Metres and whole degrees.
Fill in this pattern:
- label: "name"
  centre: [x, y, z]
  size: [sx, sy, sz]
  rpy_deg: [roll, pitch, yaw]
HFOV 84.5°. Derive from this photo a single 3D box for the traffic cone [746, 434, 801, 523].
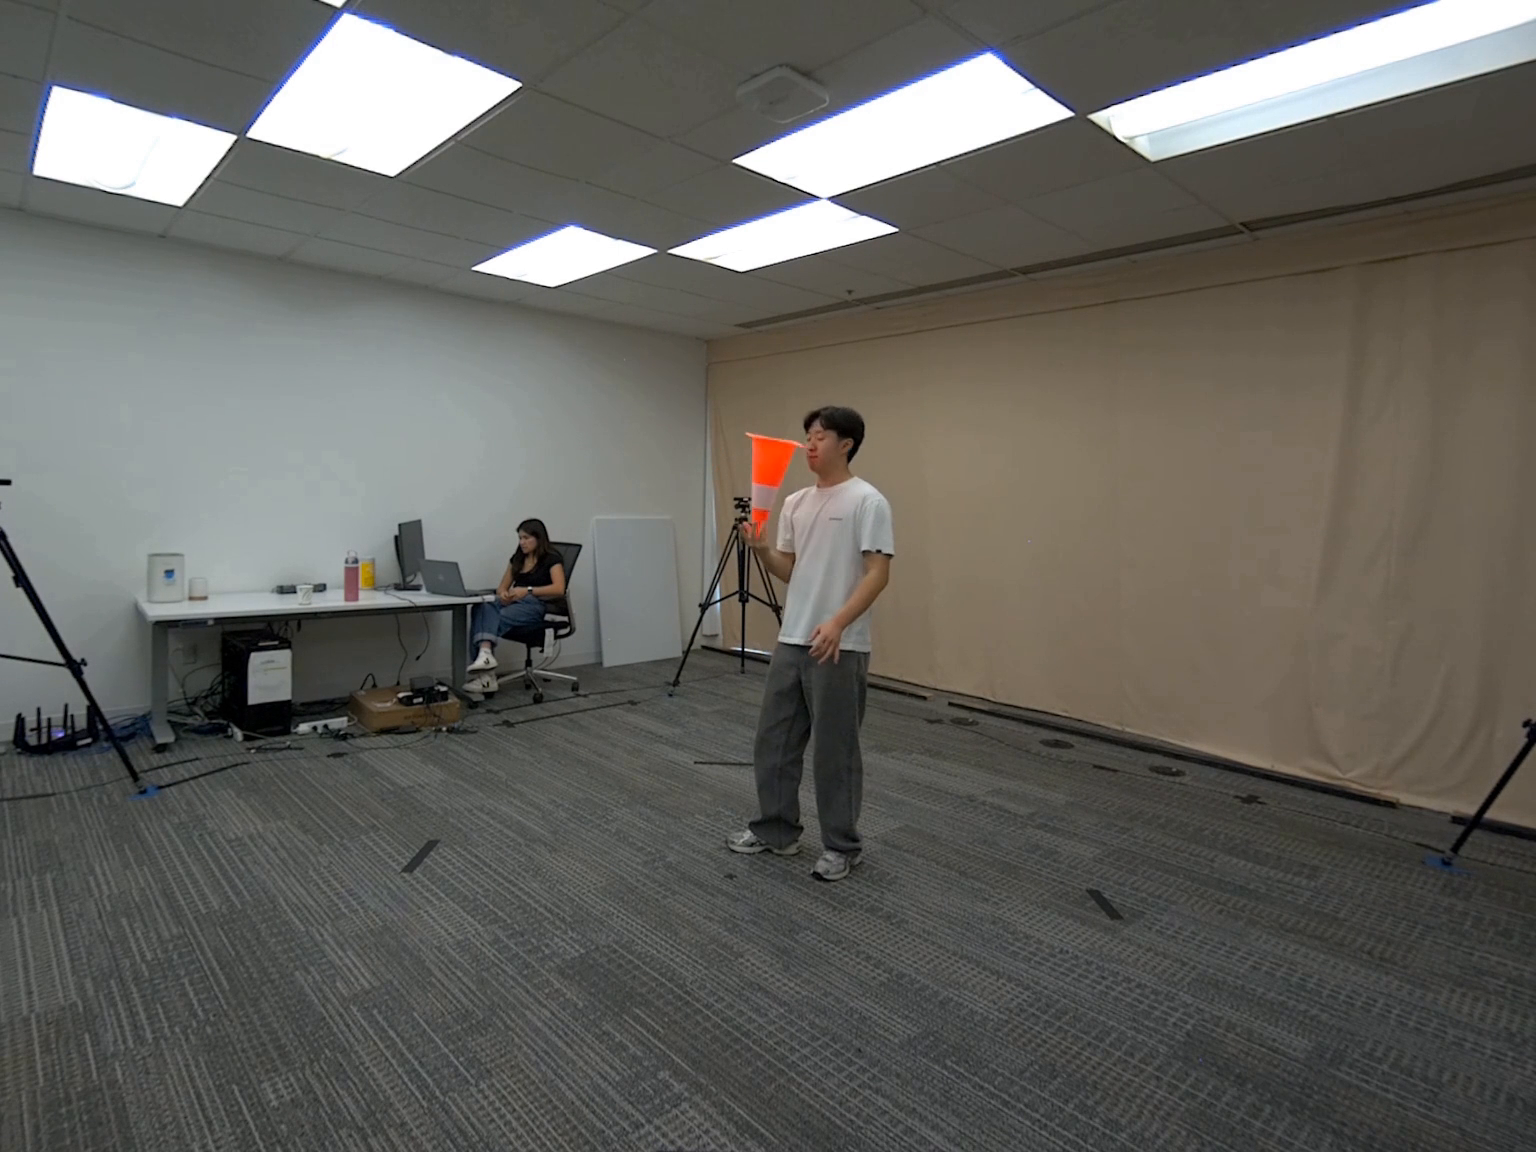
- label: "traffic cone"
  centre: [-0.022, -0.306, 3.080]
  size: [0.207, 0.382, 0.202]
  rpy_deg: [11, 7, 9]
